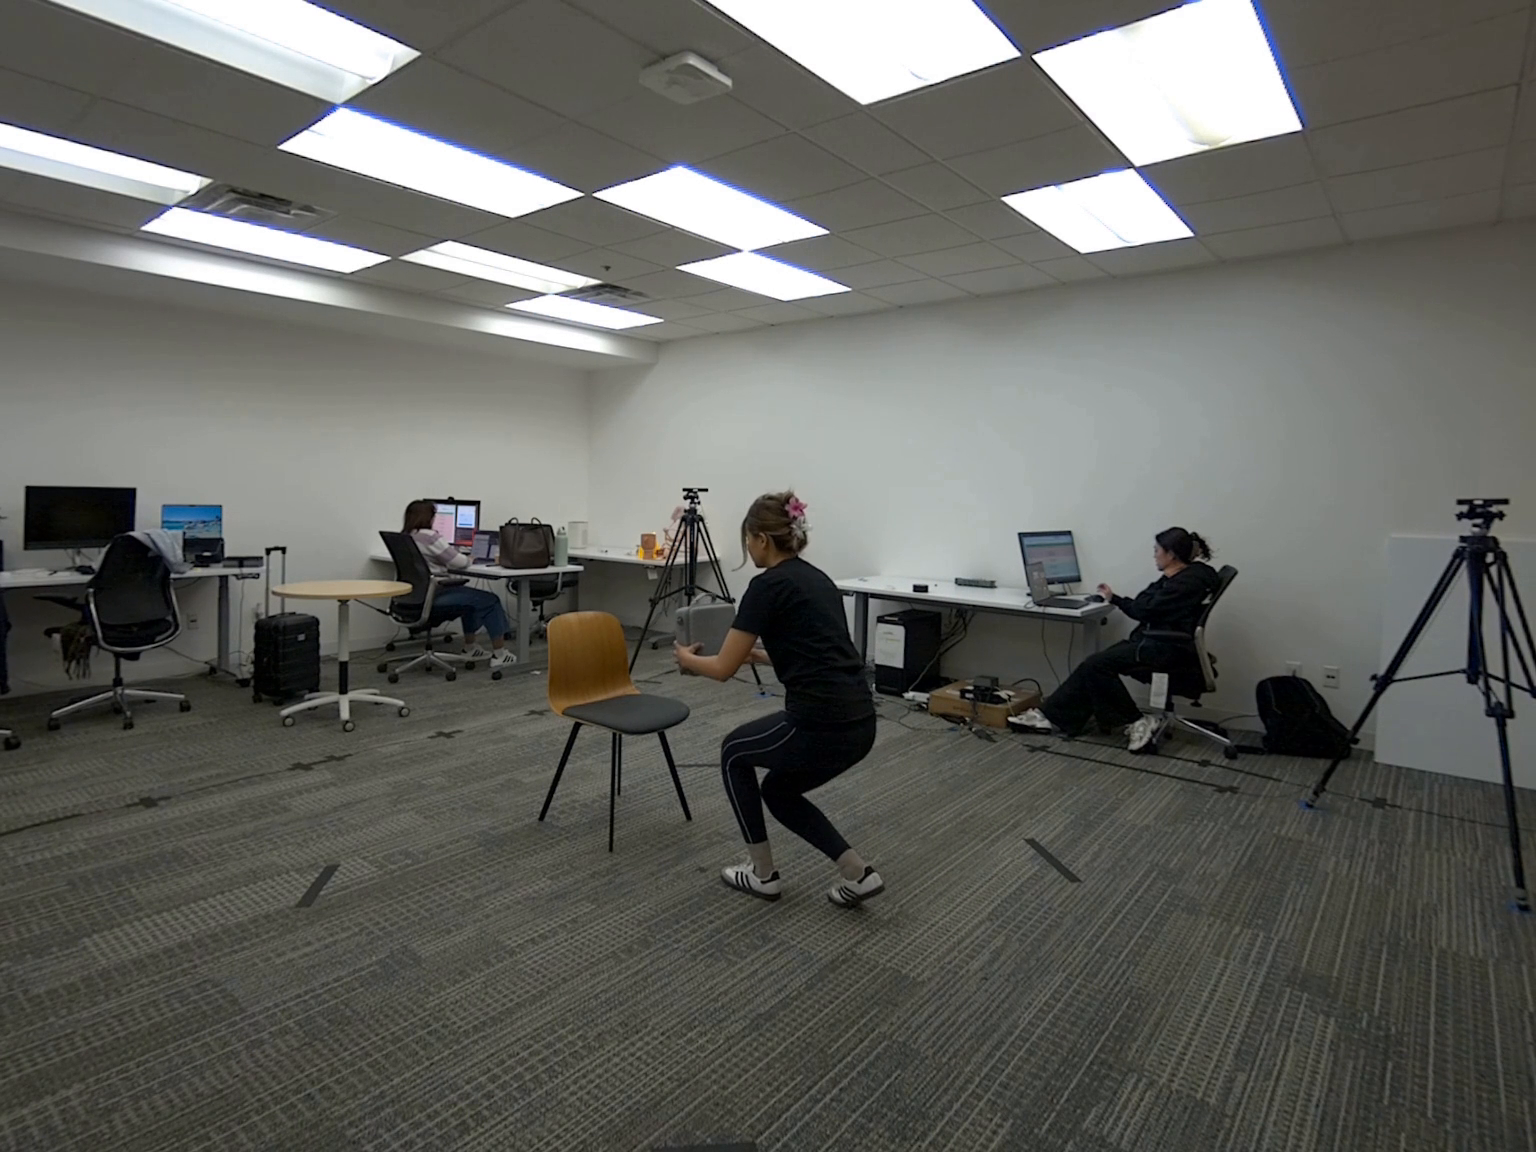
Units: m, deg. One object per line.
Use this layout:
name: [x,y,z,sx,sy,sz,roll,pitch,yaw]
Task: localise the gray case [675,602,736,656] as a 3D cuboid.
gray case: [-0.229,0.223,3.175,0.107,0.261,0.249,-4,-2,40]
